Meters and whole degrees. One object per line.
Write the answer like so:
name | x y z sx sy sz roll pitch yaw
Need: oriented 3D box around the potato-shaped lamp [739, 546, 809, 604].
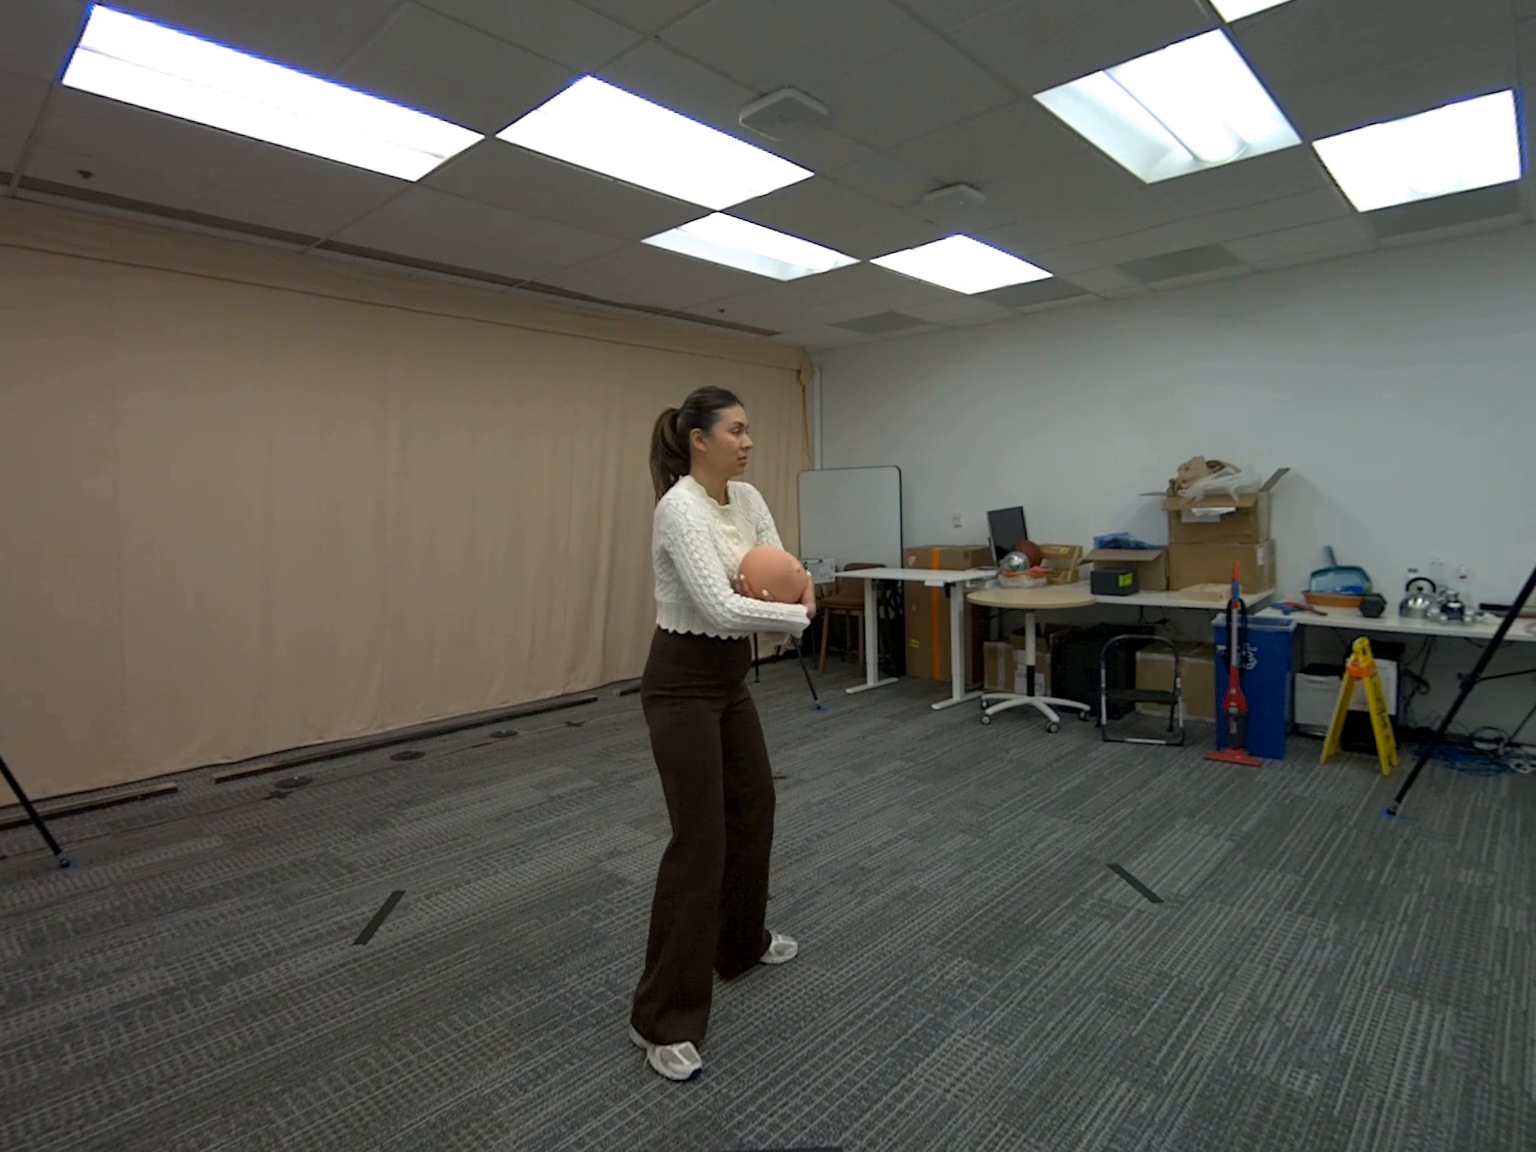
potato-shaped lamp | 0.002 0.001 2.146 0.169 0.171 0.192 21 -21 25
